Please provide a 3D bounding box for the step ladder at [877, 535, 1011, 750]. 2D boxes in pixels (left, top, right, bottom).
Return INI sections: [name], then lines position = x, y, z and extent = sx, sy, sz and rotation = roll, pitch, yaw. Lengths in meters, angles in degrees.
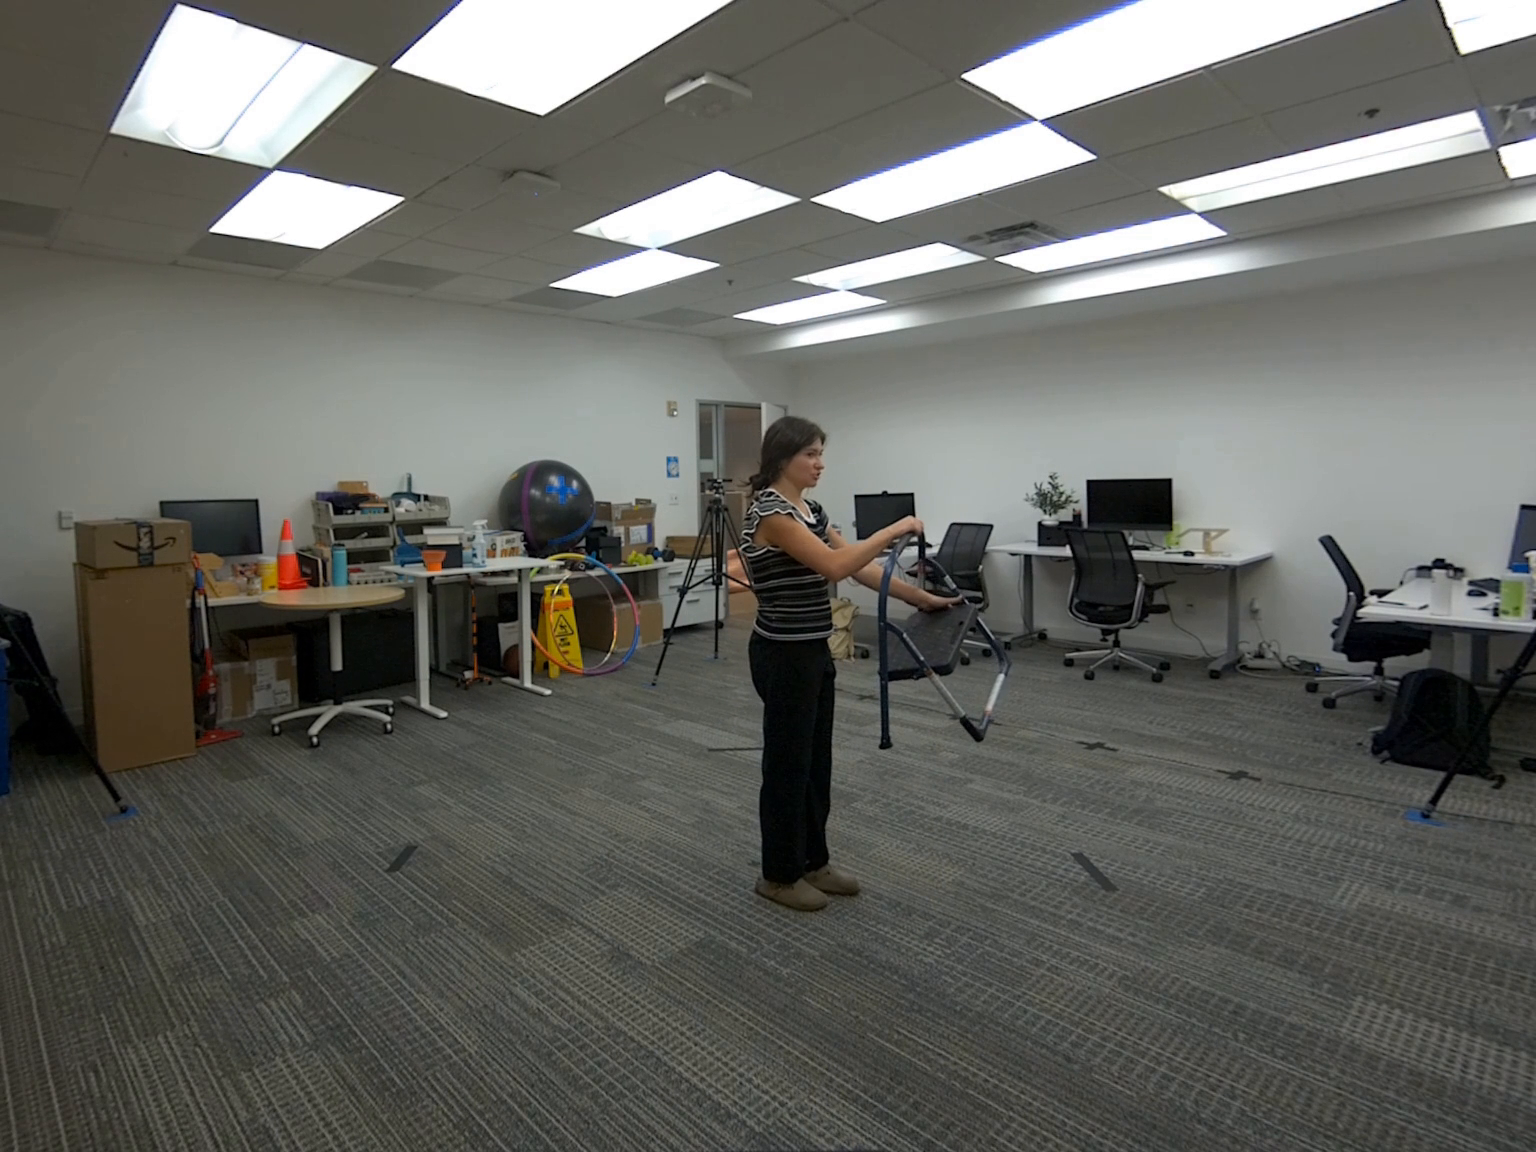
[step ladder]
position = 0.465, 0.157, 2.707
extent = 0.356, 0.595, 0.430
rotation = -15, 19, 35
